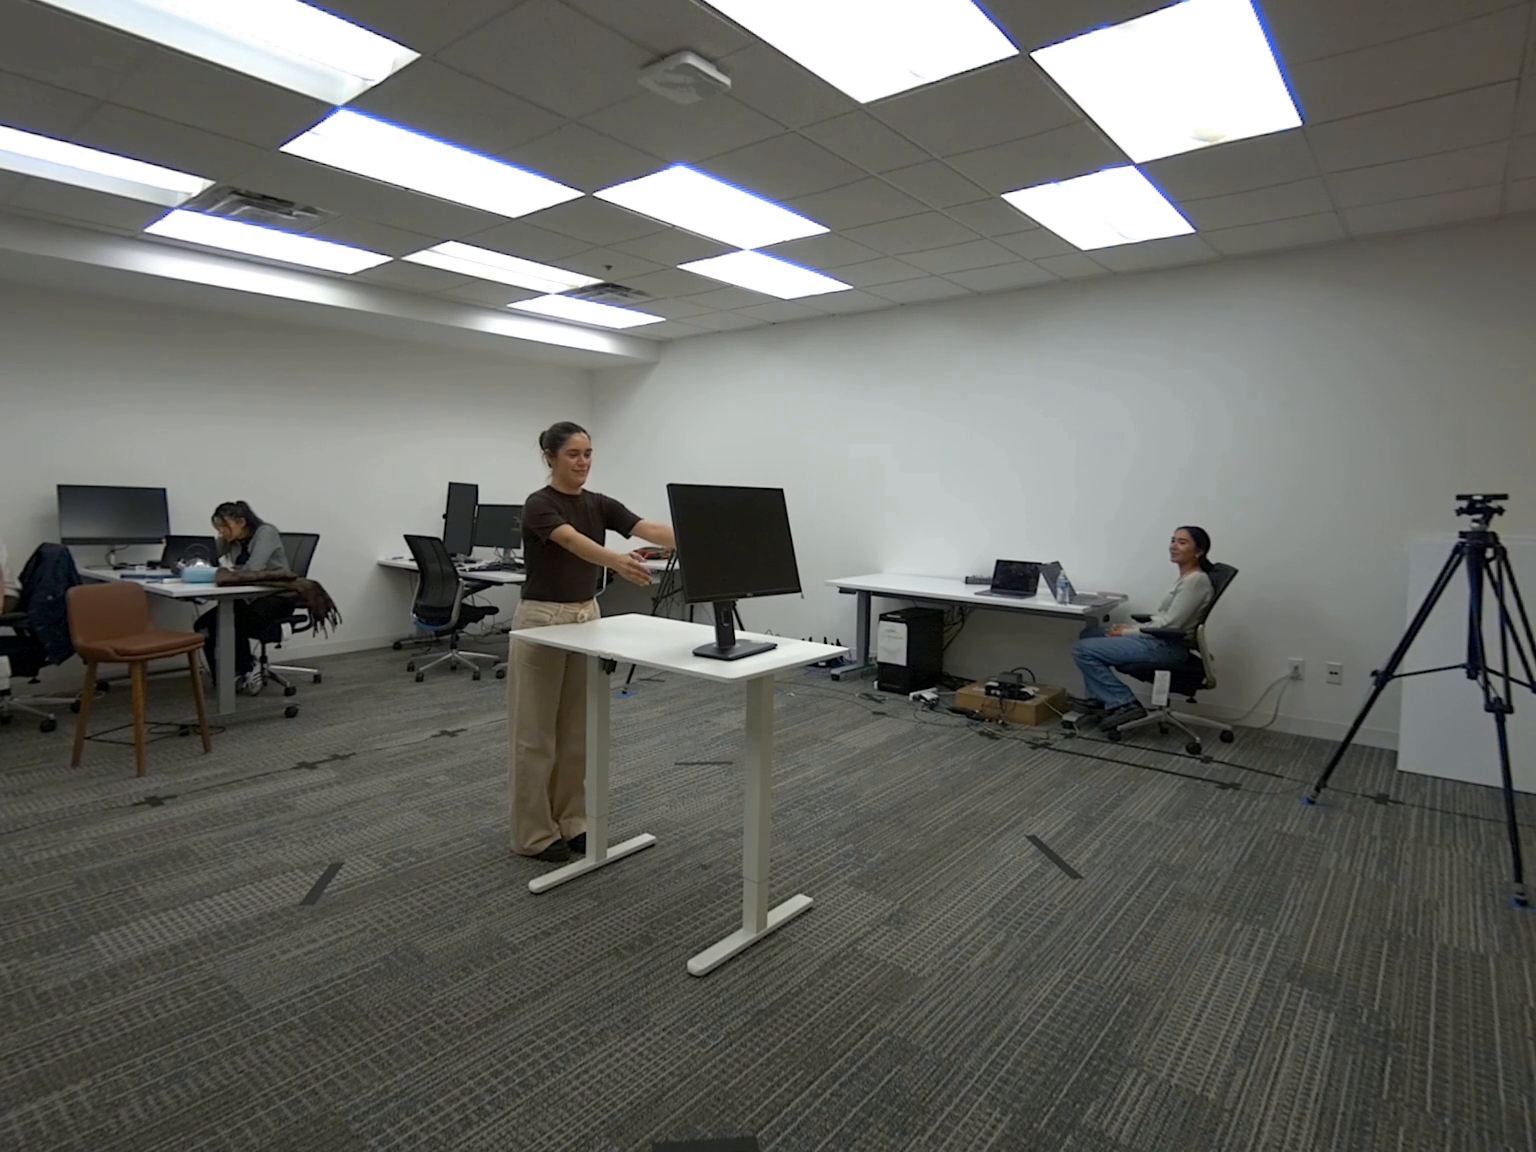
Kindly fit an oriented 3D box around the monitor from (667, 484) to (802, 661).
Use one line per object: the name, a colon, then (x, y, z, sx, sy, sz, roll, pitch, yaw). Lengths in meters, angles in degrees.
monitor: (-0.118, -0.018, 2.638, 0.193, 0.522, 0.523, 0, 2, 38)
